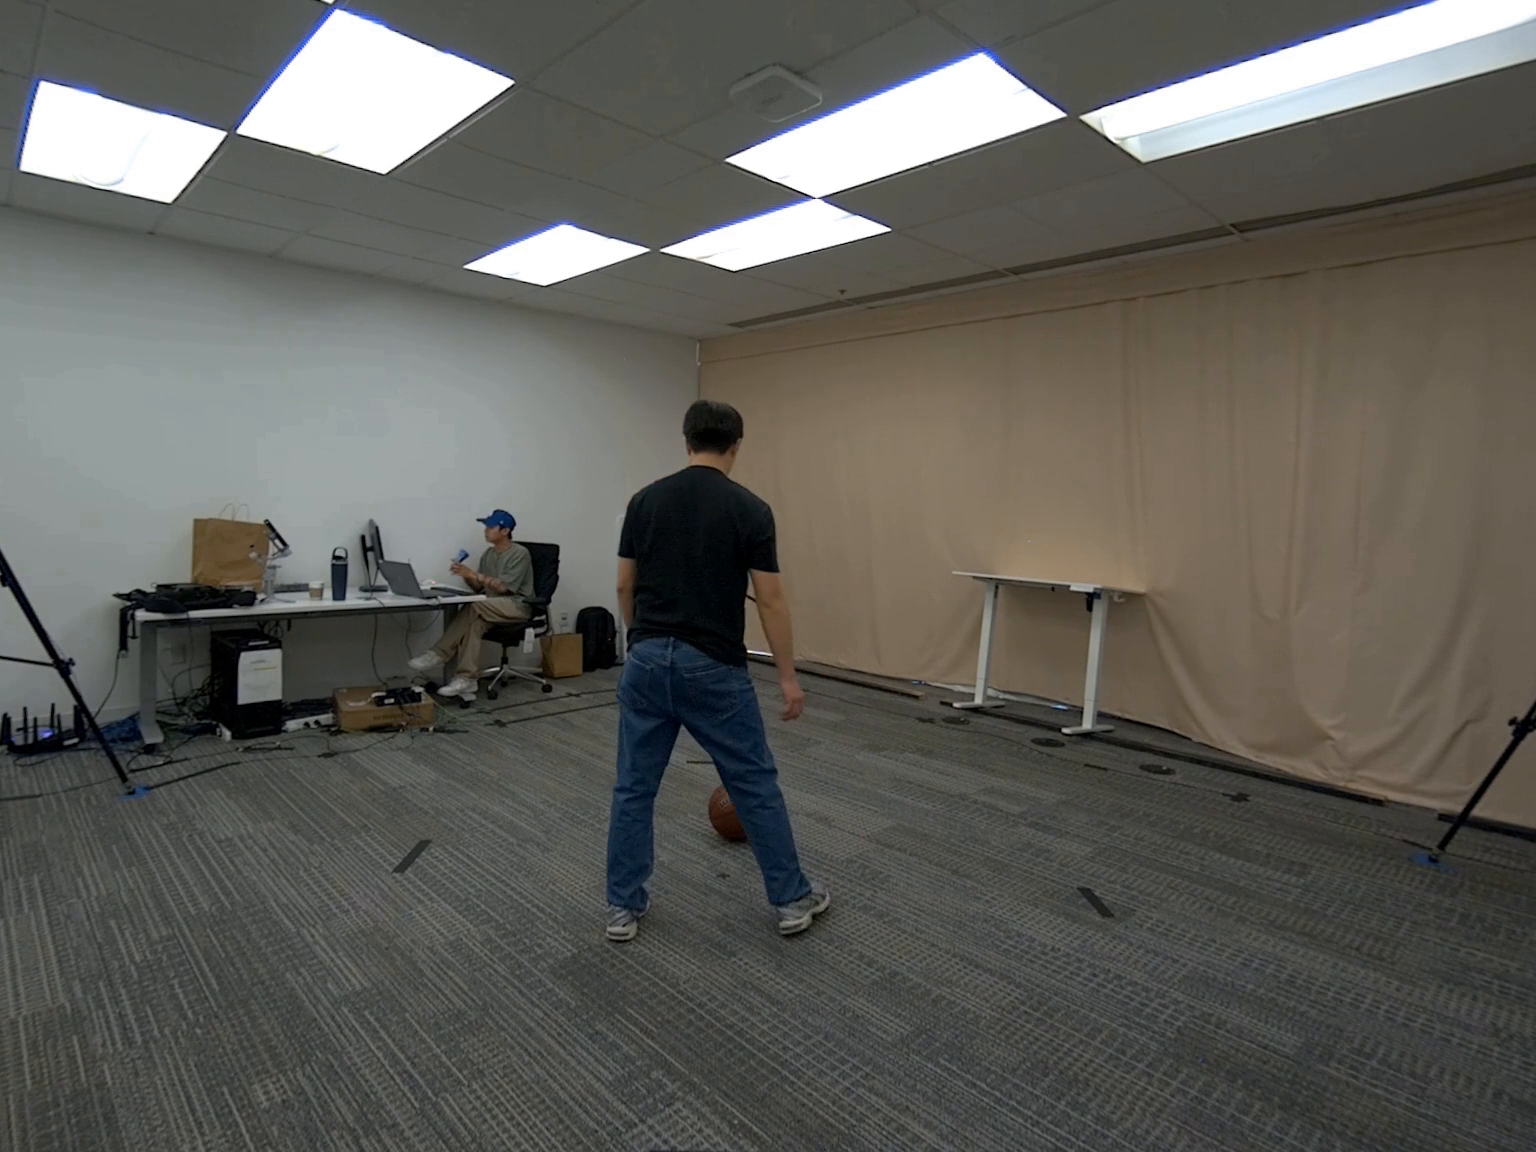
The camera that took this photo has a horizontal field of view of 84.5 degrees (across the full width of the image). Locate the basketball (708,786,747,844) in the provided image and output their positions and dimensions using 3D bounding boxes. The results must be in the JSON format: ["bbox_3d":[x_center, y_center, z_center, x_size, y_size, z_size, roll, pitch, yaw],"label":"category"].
[{"bbox_3d":[-0.127,0.957,3.440,0.236,0.235,0.237,1,4,-1],"label":"basketball"}]
